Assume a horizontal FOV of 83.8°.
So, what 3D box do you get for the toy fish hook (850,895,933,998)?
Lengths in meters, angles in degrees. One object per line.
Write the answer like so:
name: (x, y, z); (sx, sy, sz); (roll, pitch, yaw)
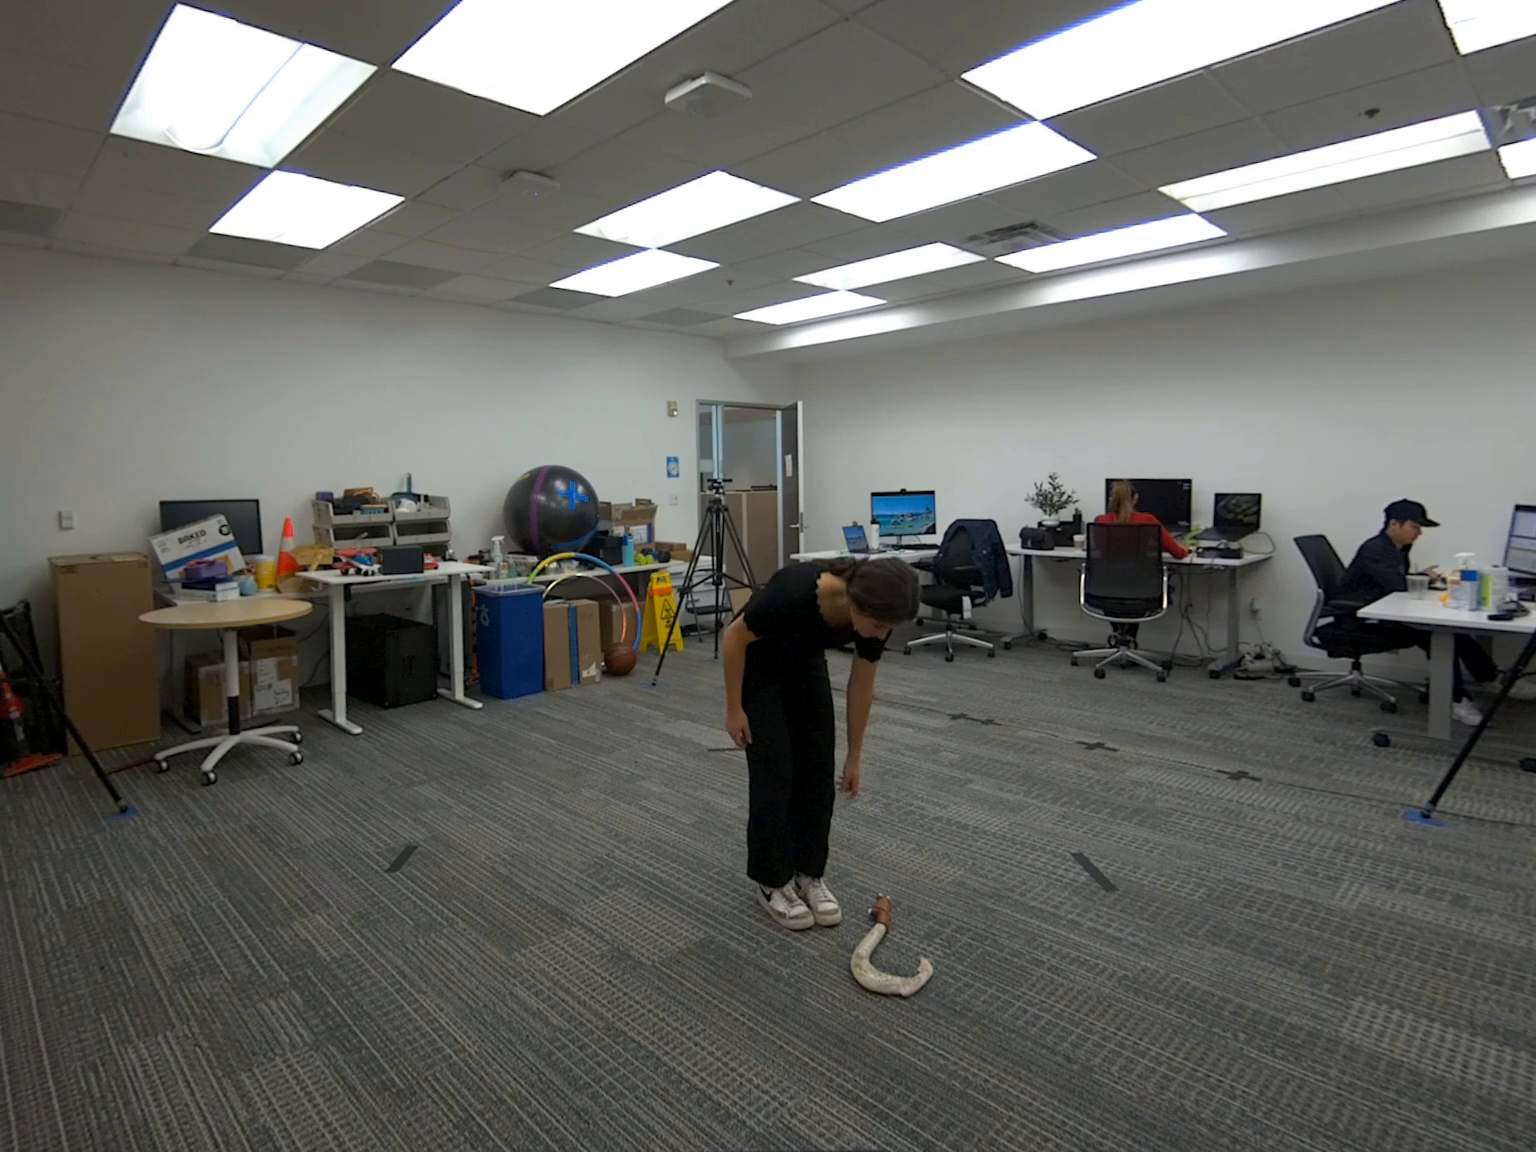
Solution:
toy fish hook: (0.377, 1.085, 2.540); (0.228, 0.048, 0.502); (7, 9, 12)
